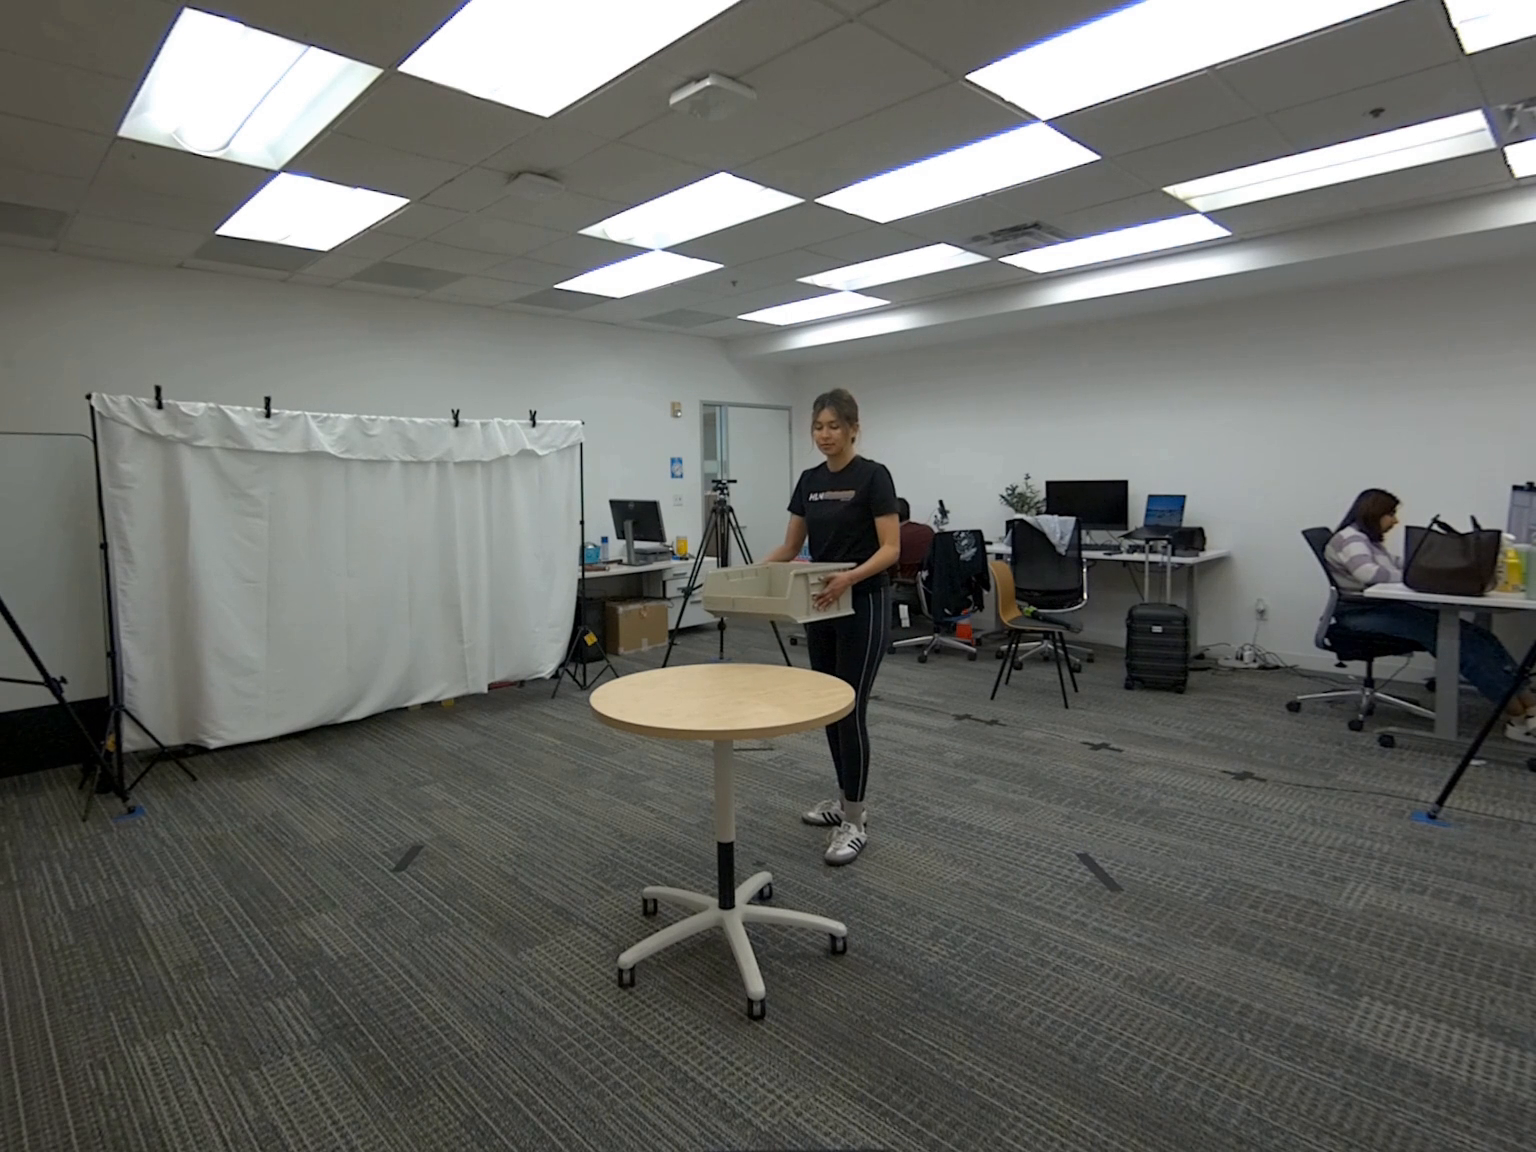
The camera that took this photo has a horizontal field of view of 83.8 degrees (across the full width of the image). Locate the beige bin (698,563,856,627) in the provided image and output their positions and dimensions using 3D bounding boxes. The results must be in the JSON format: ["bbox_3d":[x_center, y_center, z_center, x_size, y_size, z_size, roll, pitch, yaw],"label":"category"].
[{"bbox_3d":[0.032,0.056,3.069,0.367,0.189,0.434,-4,3,-43],"label":"beige bin"}]
